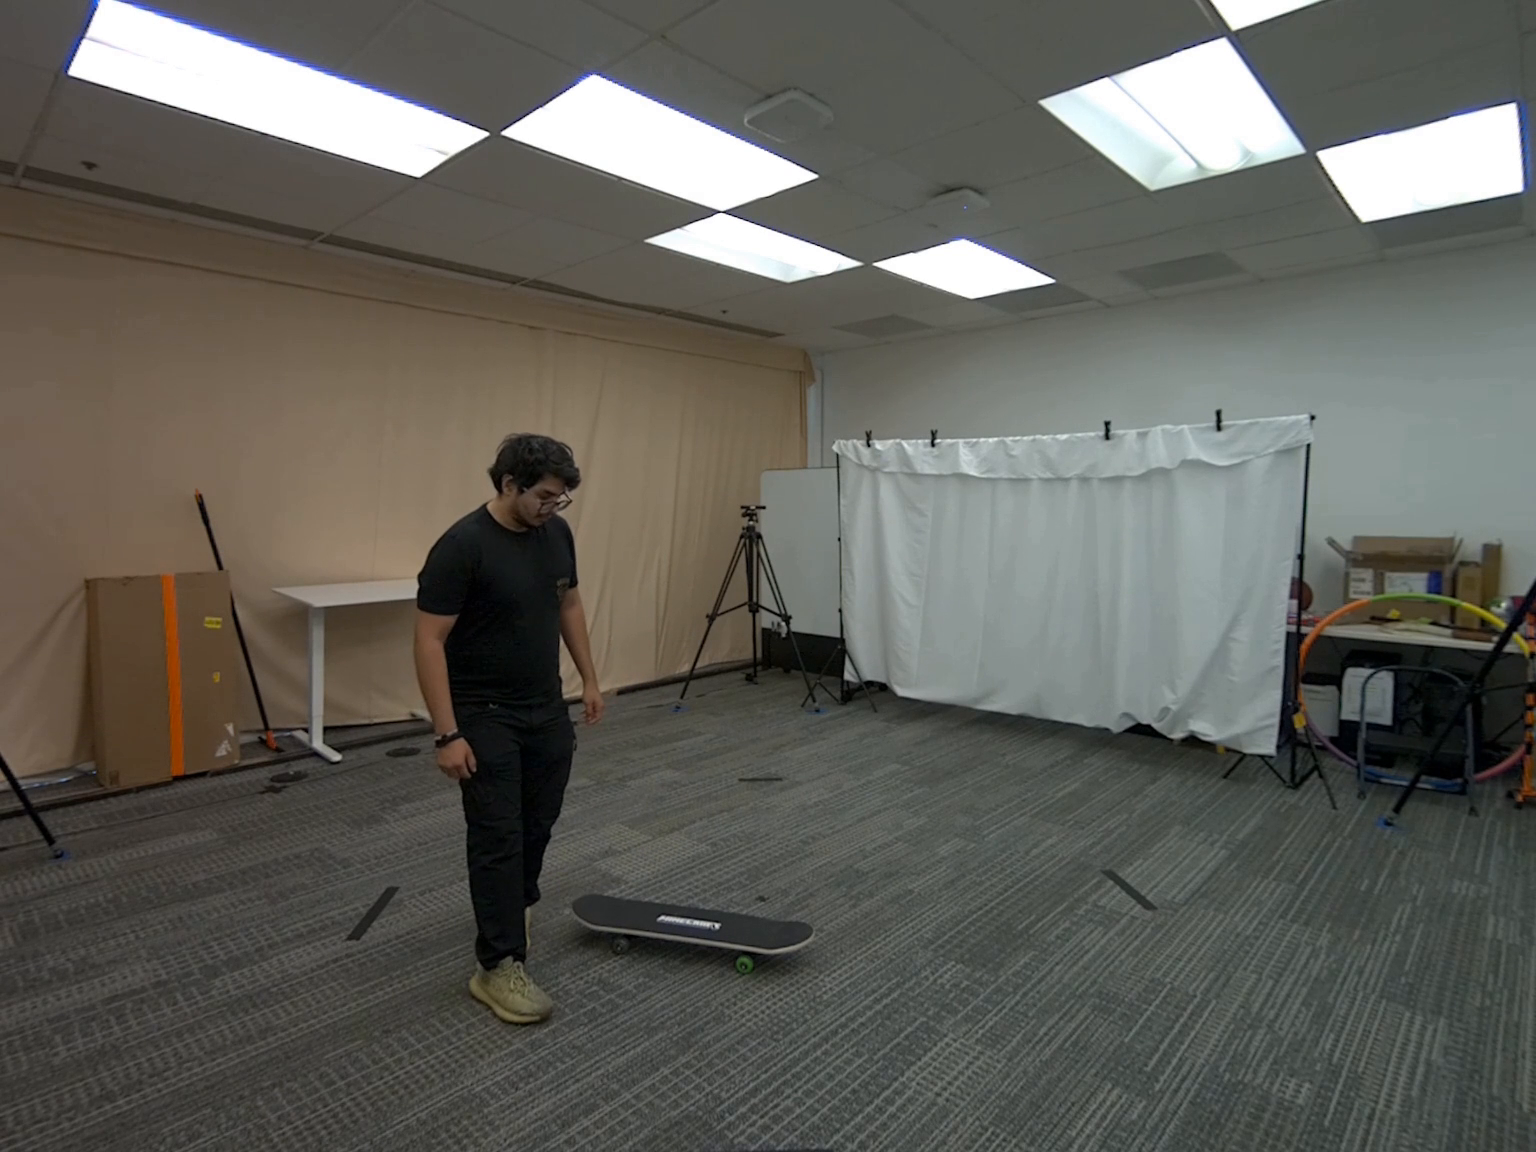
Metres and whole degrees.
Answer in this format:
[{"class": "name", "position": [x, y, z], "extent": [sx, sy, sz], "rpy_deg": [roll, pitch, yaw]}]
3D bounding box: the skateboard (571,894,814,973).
[{"class": "skateboard", "position": [-0.239, 1.115, 2.631], "extent": [0.798, 0.110, 0.191], "rpy_deg": [0, 4, 15]}]
